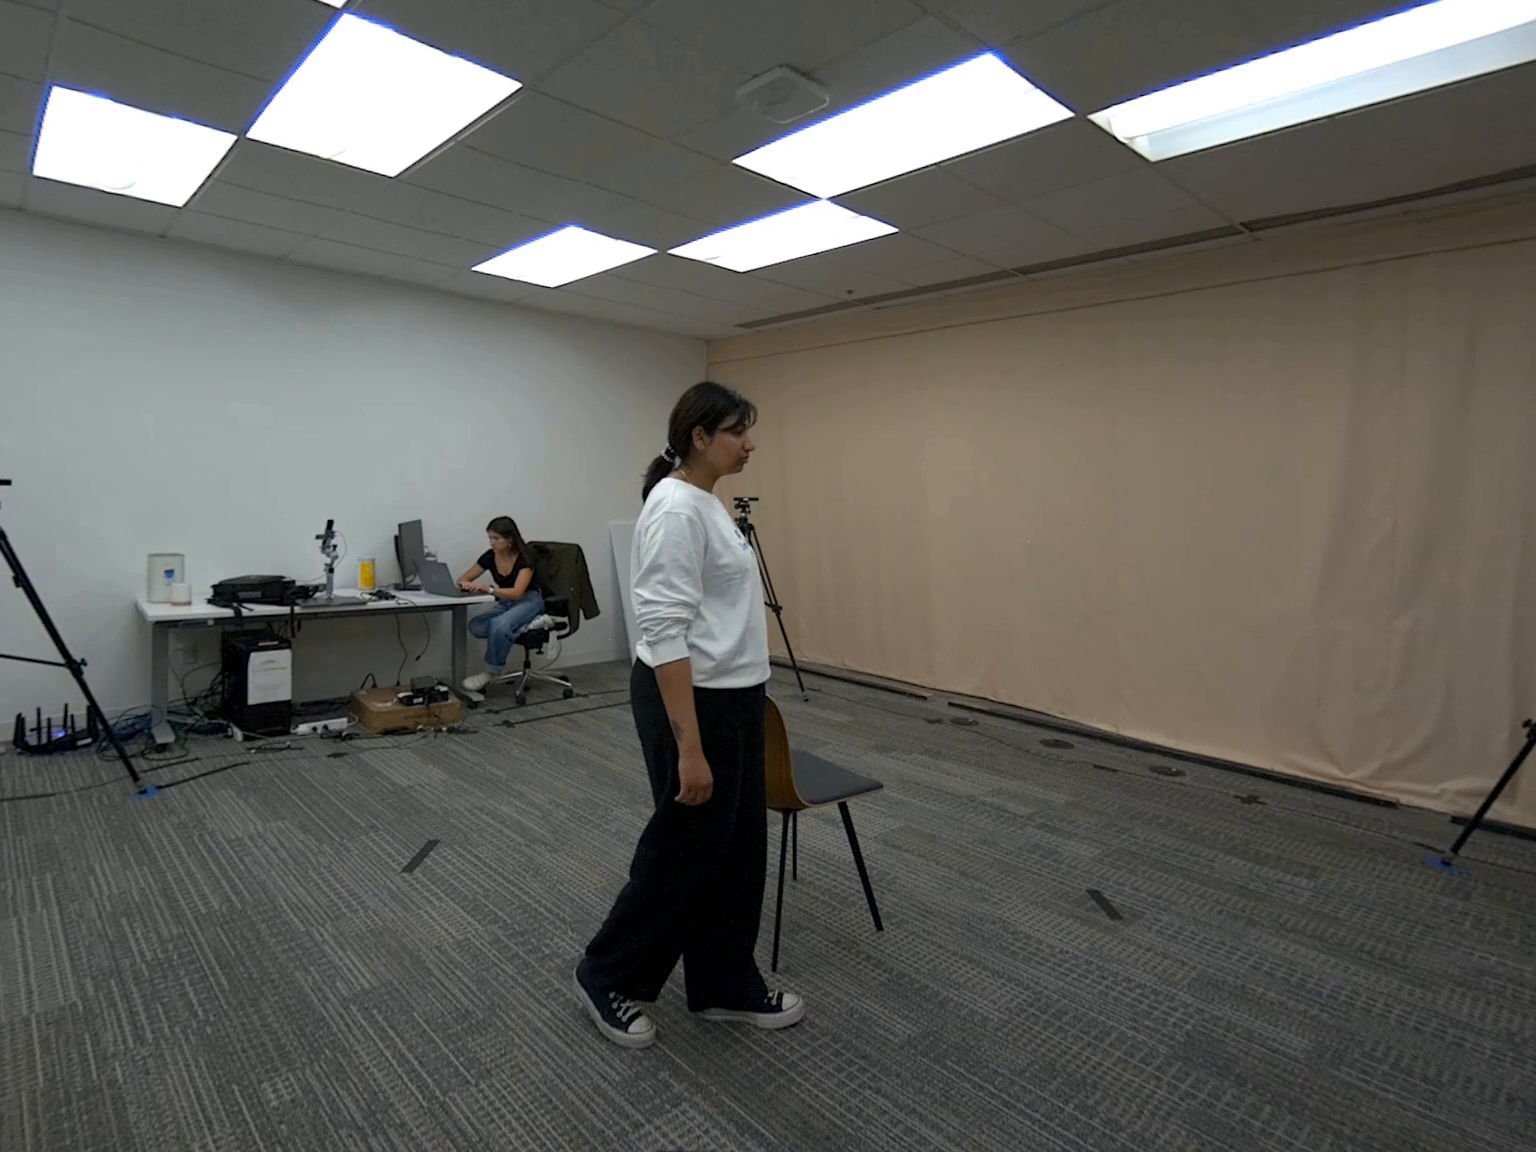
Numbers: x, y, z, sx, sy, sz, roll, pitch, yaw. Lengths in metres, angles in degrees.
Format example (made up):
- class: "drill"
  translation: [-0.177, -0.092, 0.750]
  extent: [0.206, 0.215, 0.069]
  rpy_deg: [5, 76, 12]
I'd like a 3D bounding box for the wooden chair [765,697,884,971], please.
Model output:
- class: "wooden chair"
  translation: [0.071, 0.718, 2.760]
  extent: [0.513, 0.873, 0.490]
  rpy_deg: [-7, 7, -36]
